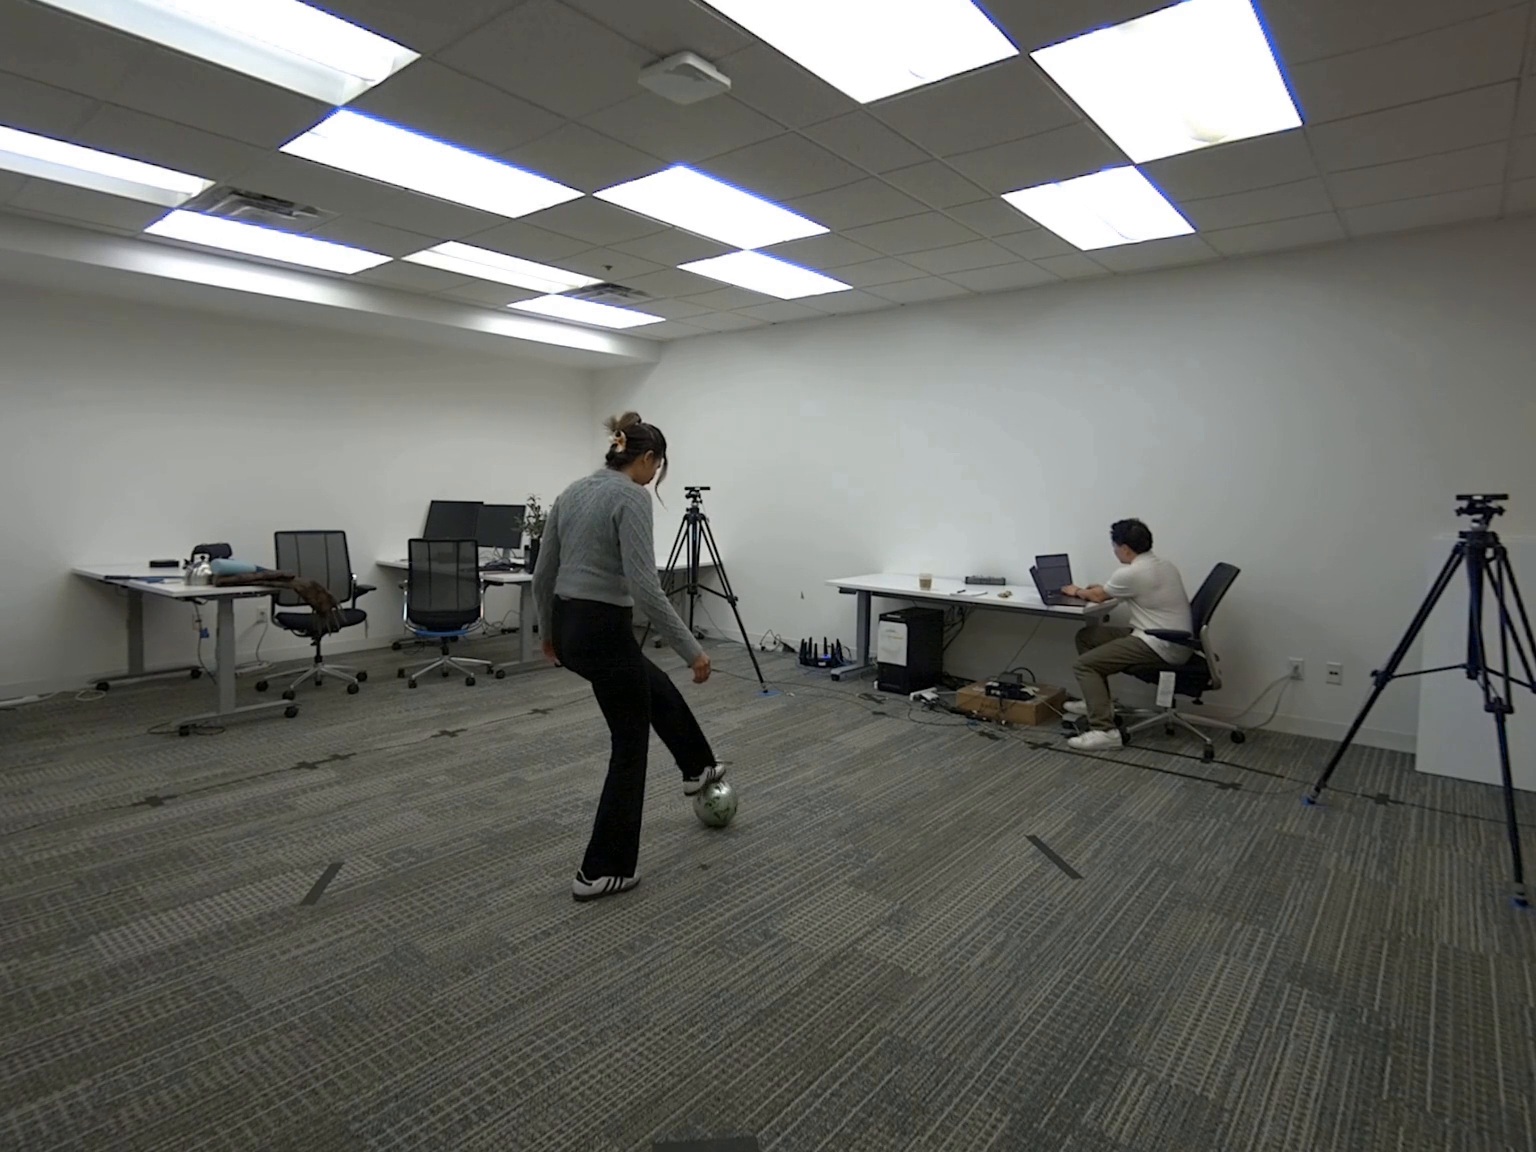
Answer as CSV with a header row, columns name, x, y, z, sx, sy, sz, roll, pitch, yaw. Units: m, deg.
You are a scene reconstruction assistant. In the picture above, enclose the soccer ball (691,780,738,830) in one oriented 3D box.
name,x,y,z,sx,sy,sz,roll,pitch,yaw
soccer ball,-0.250,0.934,3.489,0.187,0.187,0.188,1,4,-2
